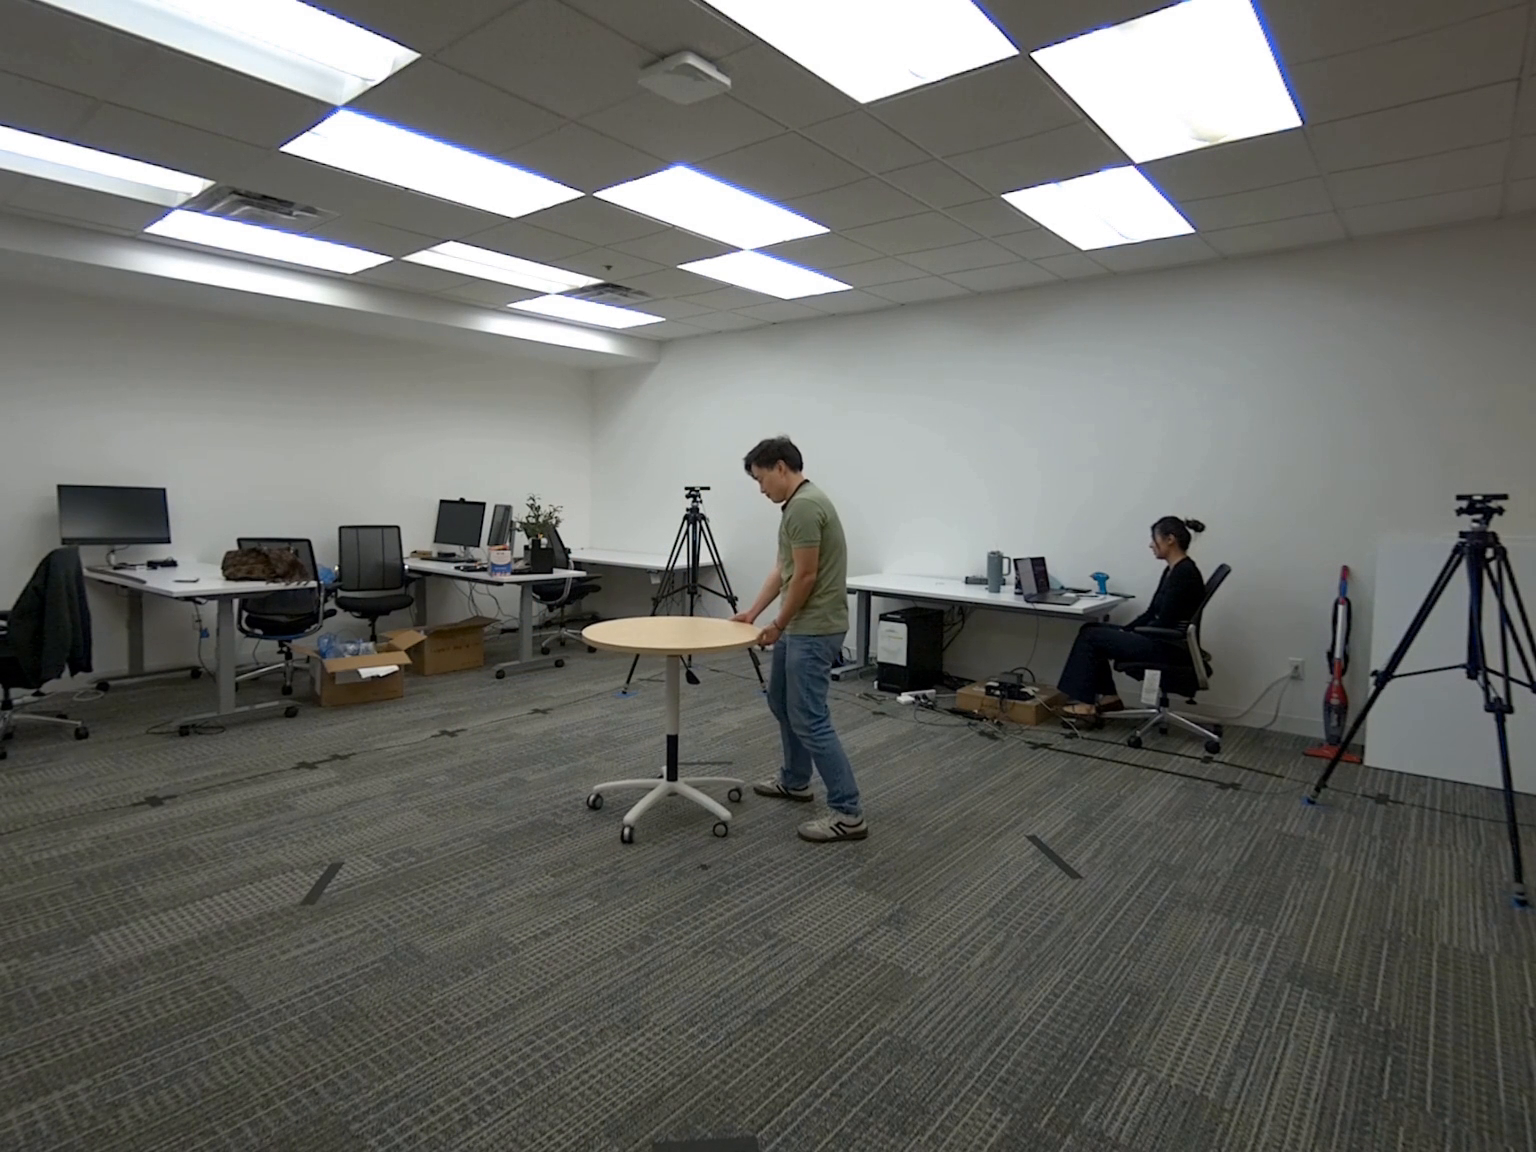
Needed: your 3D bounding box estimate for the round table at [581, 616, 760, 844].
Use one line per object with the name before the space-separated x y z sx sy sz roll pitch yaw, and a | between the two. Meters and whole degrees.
round table | -0.427 0.624 3.619 0.763 0.791 0.768 1 4 -2
